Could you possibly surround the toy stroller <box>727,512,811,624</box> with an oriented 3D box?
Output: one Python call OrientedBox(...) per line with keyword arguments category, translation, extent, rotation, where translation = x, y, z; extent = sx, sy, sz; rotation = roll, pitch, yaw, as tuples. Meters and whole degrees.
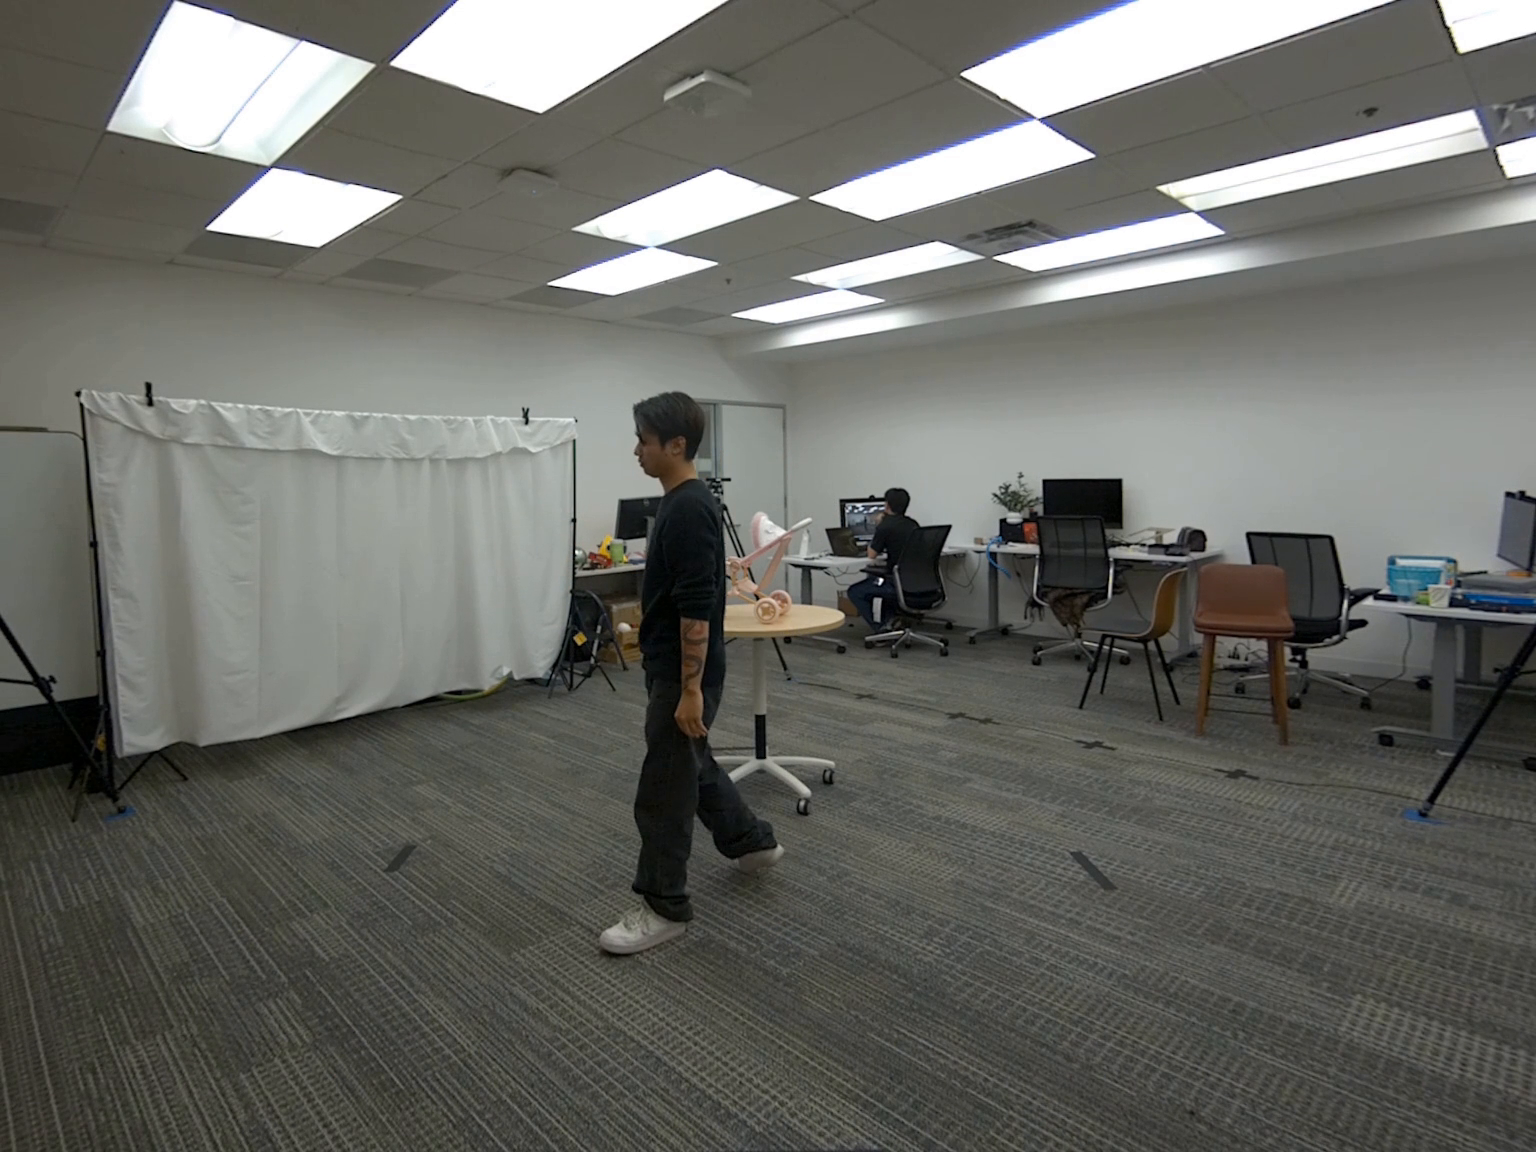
OrientedBox(category="toy stroller", translation=(-0.048, -0.037, 3.731), extent=(0.348, 0.531, 0.278), rotation=(17, 10, 16))
